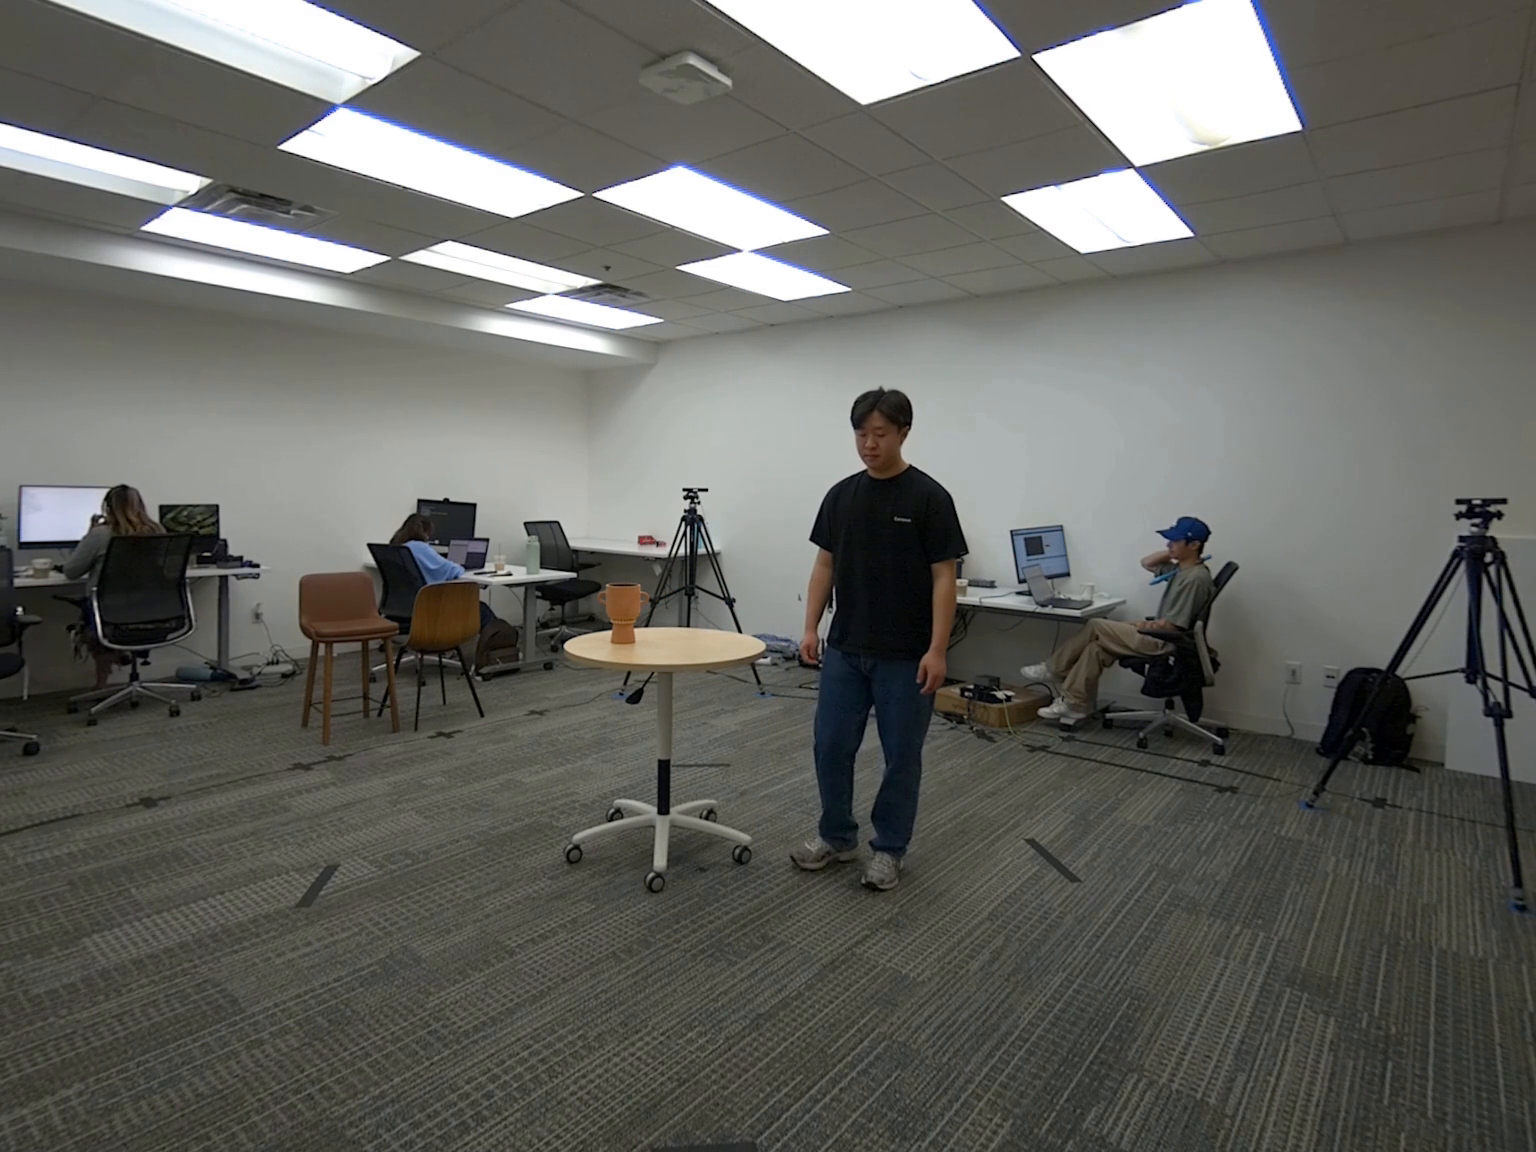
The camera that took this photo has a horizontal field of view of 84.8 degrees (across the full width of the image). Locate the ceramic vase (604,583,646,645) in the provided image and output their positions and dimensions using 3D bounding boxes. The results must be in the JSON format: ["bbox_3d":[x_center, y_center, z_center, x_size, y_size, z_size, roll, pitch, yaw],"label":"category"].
[{"bbox_3d":[-0.570,0.143,3.271,0.164,0.219,0.131,5,7,41],"label":"ceramic vase"}]
